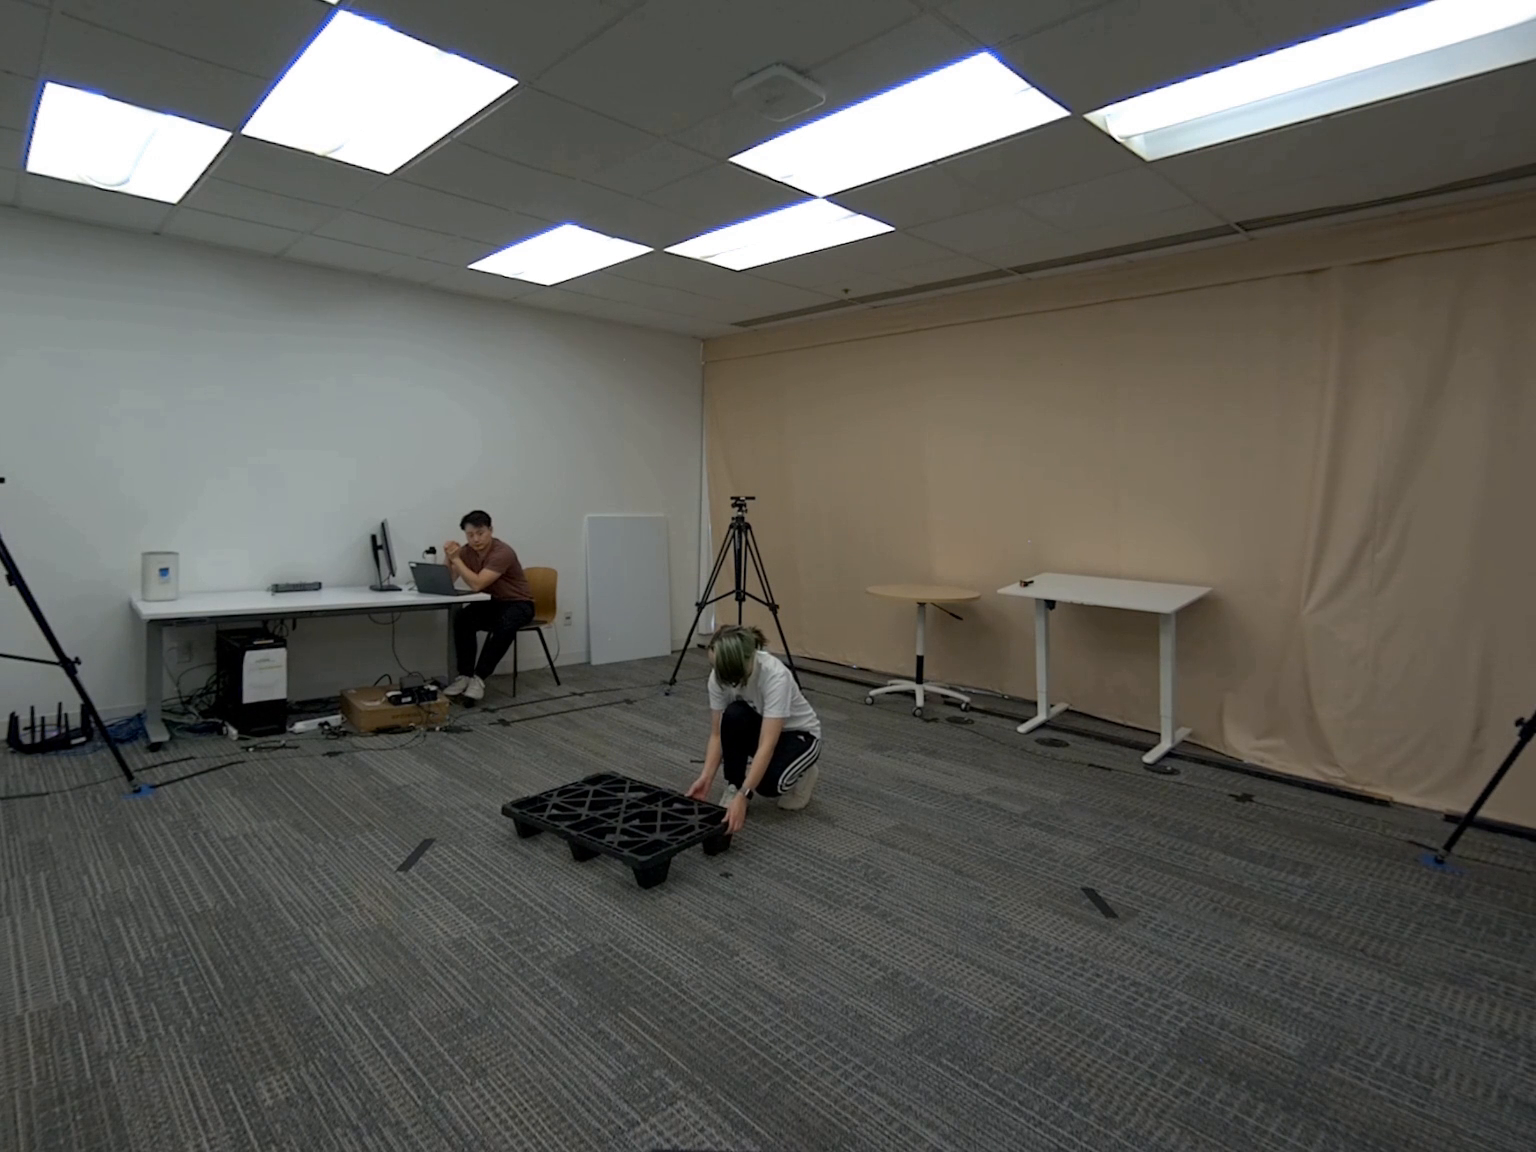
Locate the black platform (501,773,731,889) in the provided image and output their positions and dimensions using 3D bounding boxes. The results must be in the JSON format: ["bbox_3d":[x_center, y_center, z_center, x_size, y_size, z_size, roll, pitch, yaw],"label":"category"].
[{"bbox_3d":[-0.594,1.004,3.368,0.825,0.143,0.592,5,7,36],"label":"black platform"}]
